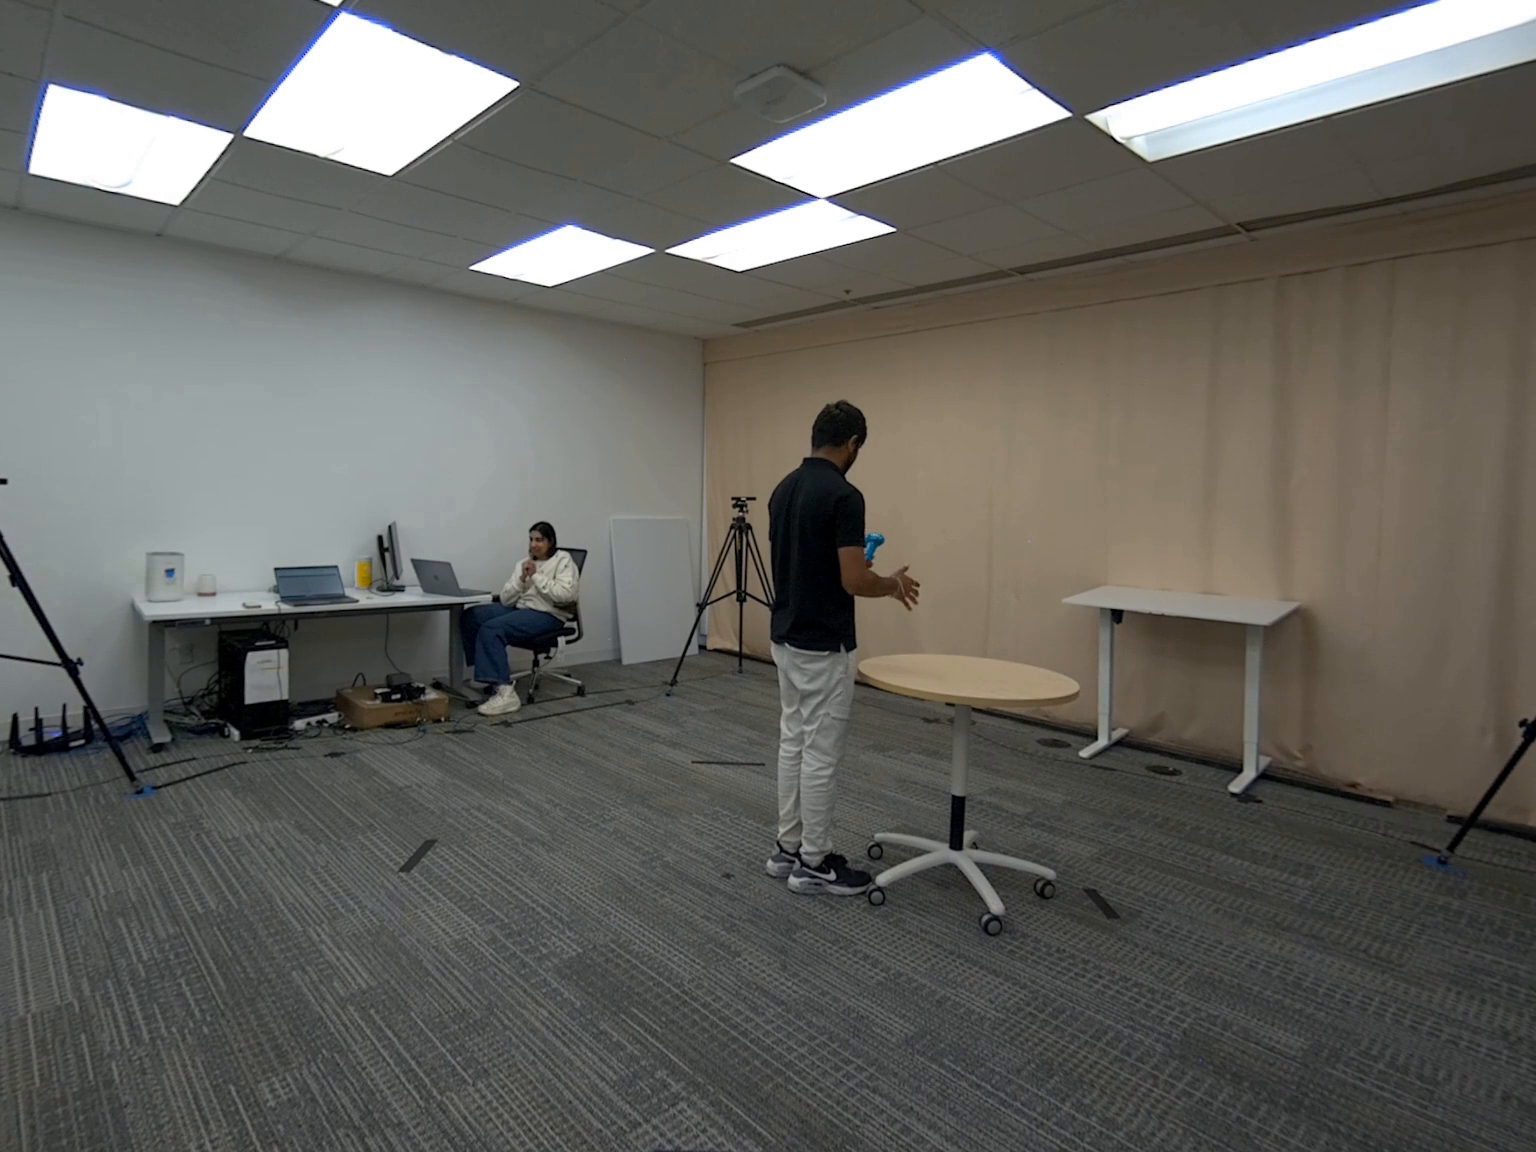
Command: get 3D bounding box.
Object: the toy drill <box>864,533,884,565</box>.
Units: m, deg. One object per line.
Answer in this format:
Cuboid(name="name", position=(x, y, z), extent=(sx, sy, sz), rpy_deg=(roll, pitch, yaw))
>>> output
Cuboid(name="toy drill", position=(0.389, -0.108, 3.348), extent=(0.060, 0.146, 0.172), rpy_deg=(33, -14, -20))
